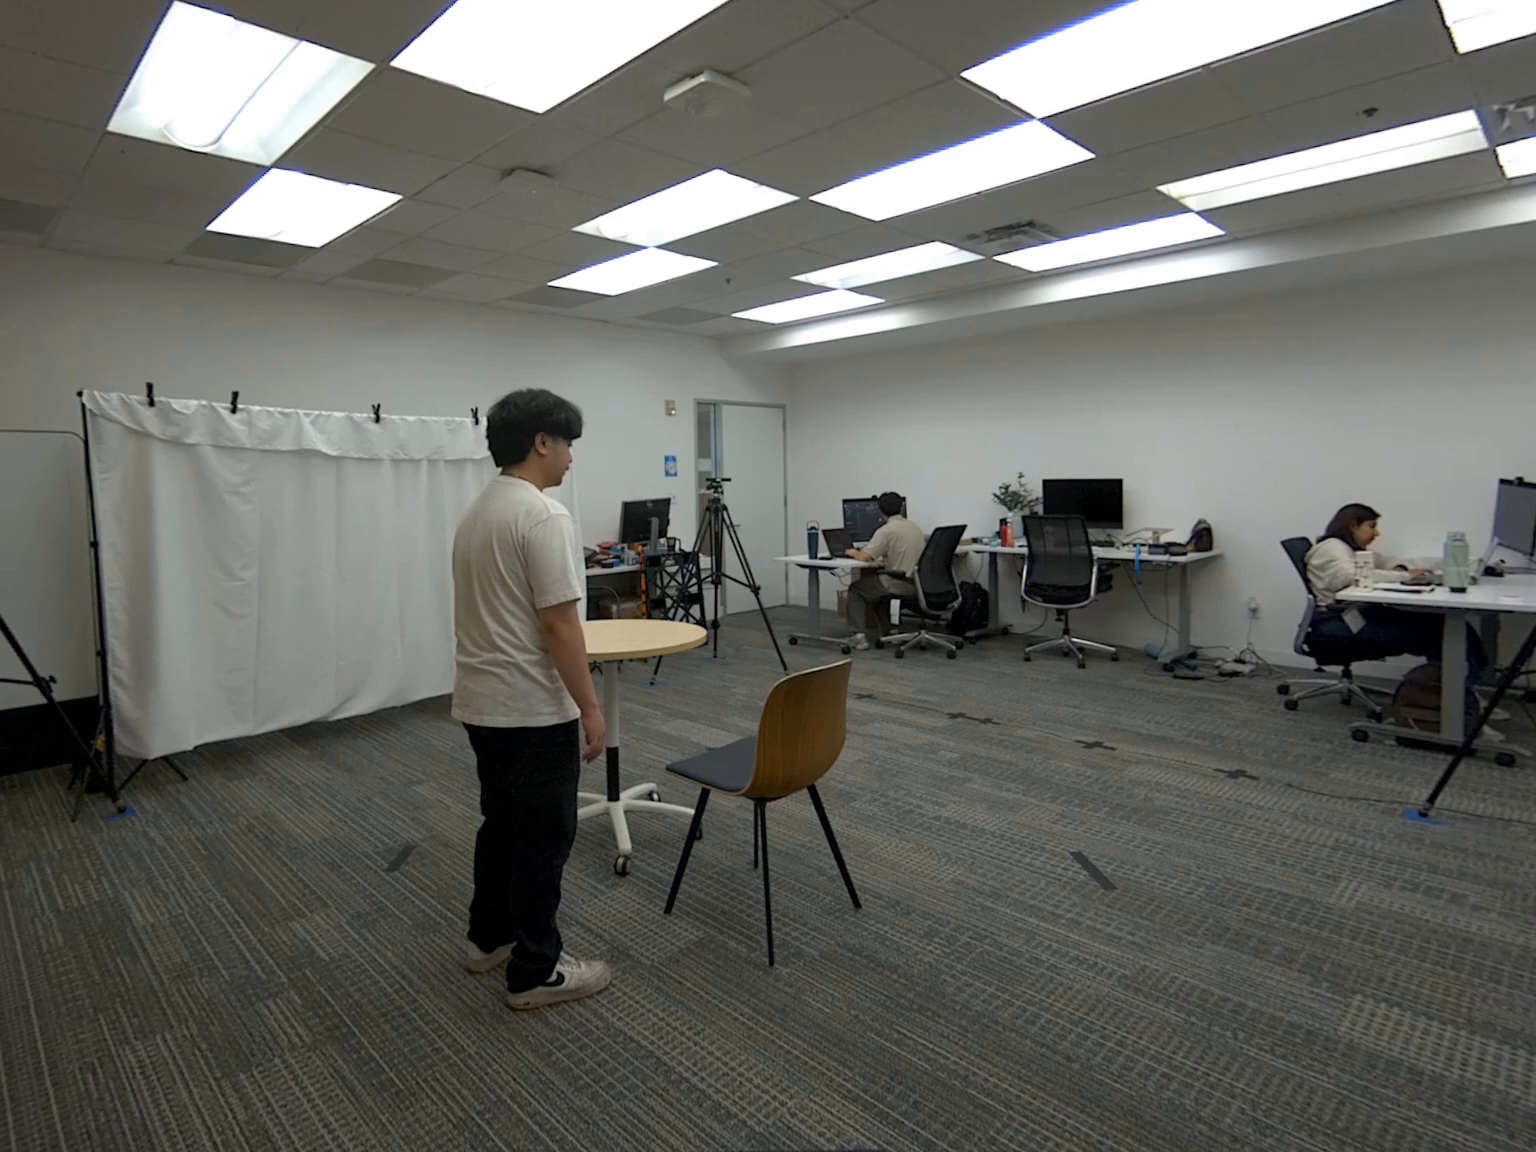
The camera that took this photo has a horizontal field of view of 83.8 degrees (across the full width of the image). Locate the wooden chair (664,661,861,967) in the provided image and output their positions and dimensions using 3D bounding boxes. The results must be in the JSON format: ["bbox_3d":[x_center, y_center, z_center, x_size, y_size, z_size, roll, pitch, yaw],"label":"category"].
[{"bbox_3d":[-0.026,0.657,2.731,0.540,0.871,0.466,9,10,41],"label":"wooden chair"}]
